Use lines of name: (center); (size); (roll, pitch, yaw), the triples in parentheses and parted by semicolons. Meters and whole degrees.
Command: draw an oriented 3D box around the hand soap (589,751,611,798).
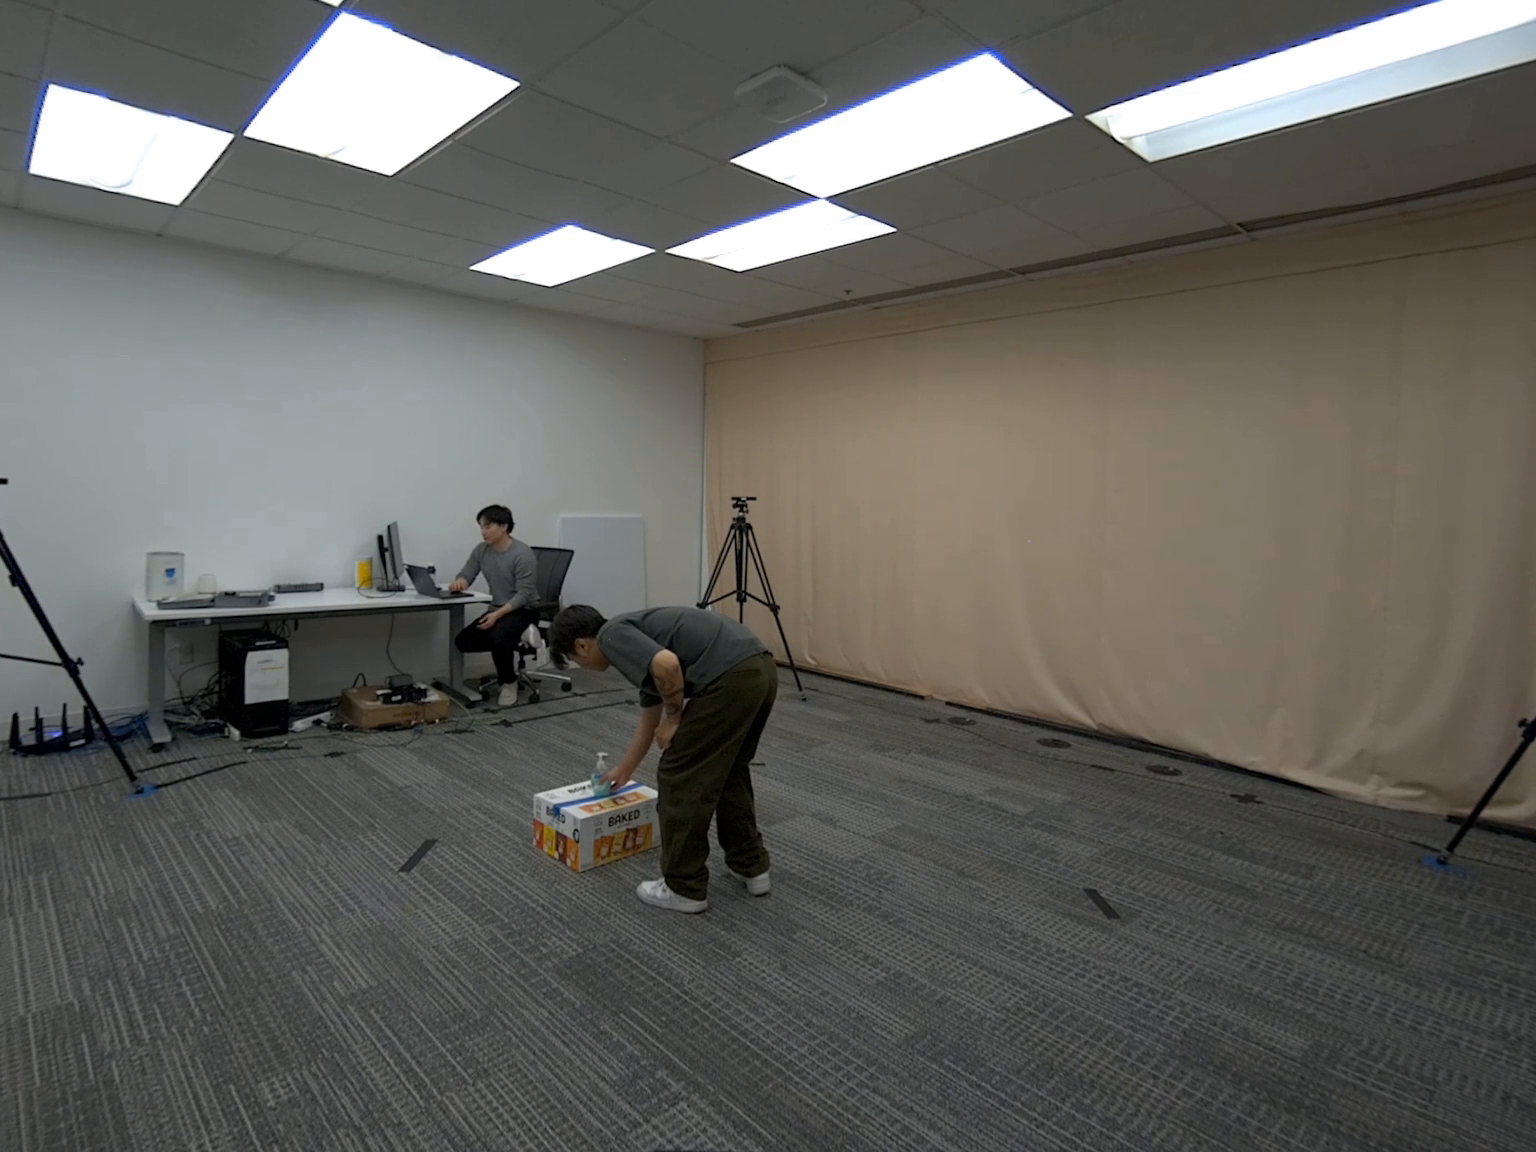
hand soap: (-0.671, 0.790, 3.356); (0.085, 0.168, 0.043); (1, -3, 7)
